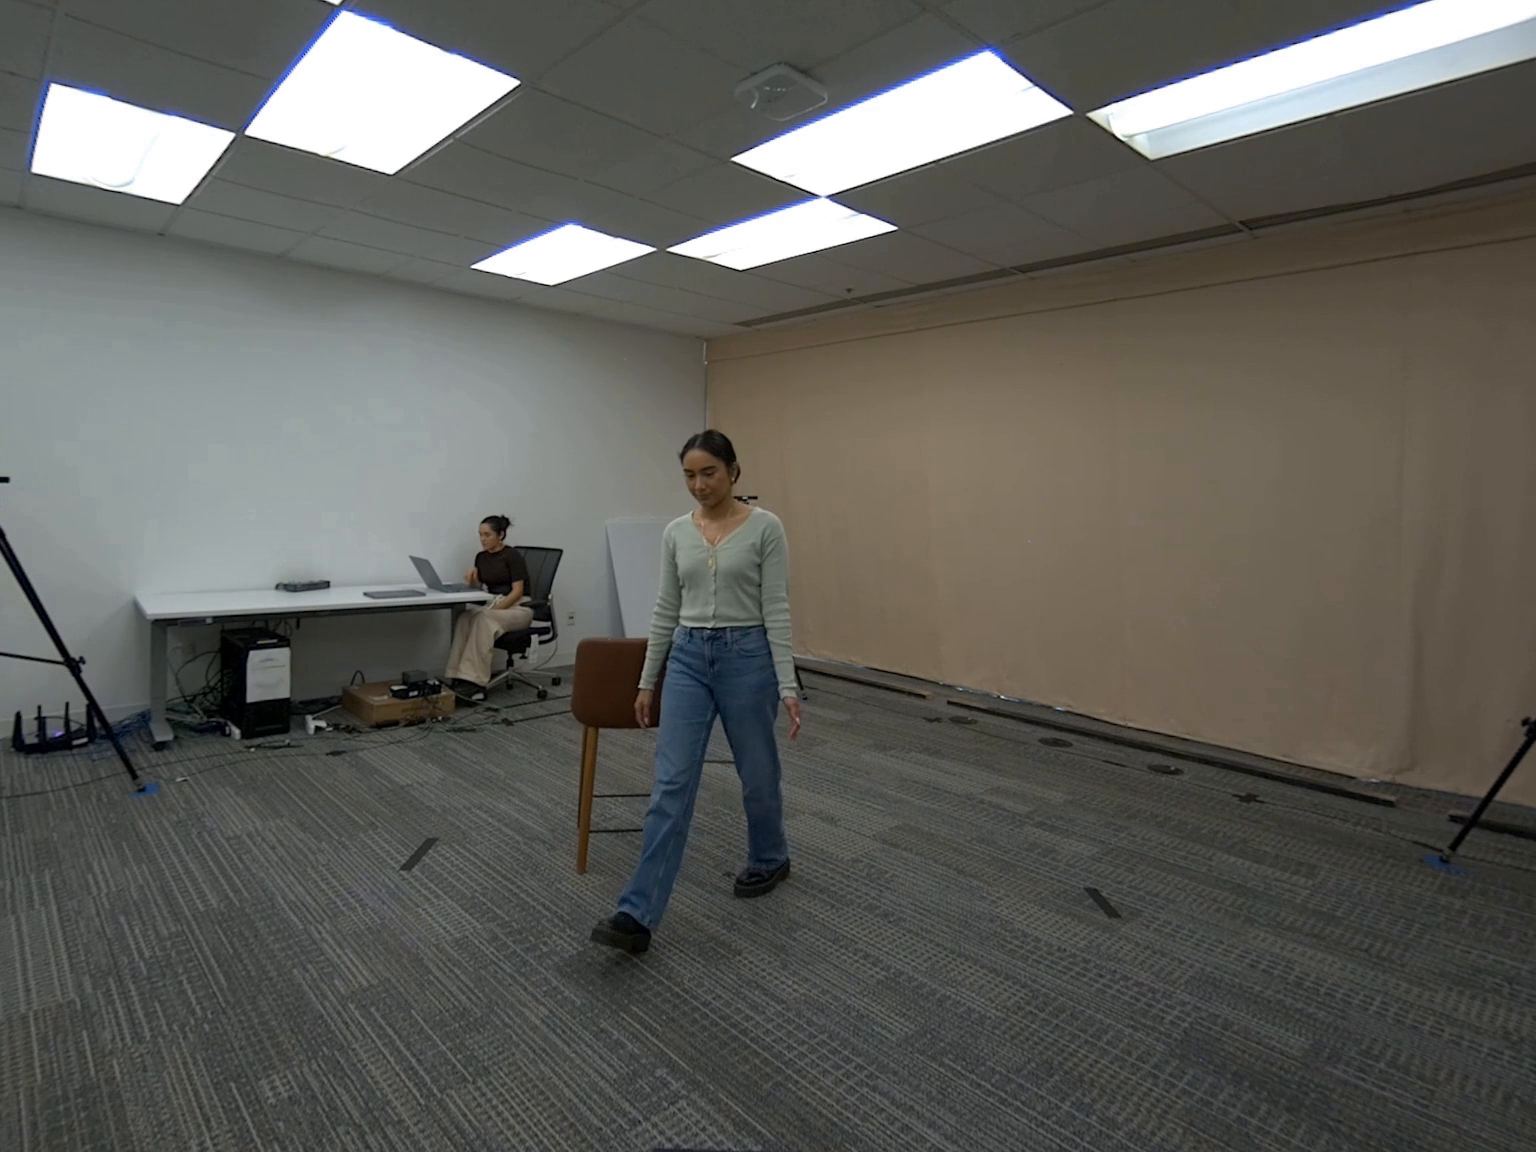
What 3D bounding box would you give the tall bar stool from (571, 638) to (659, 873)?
[{"bbox_3d":[-0.546,0.639,3.293,0.454,0.886,0.472,0,6,-8],"label":"tall bar stool"}]
